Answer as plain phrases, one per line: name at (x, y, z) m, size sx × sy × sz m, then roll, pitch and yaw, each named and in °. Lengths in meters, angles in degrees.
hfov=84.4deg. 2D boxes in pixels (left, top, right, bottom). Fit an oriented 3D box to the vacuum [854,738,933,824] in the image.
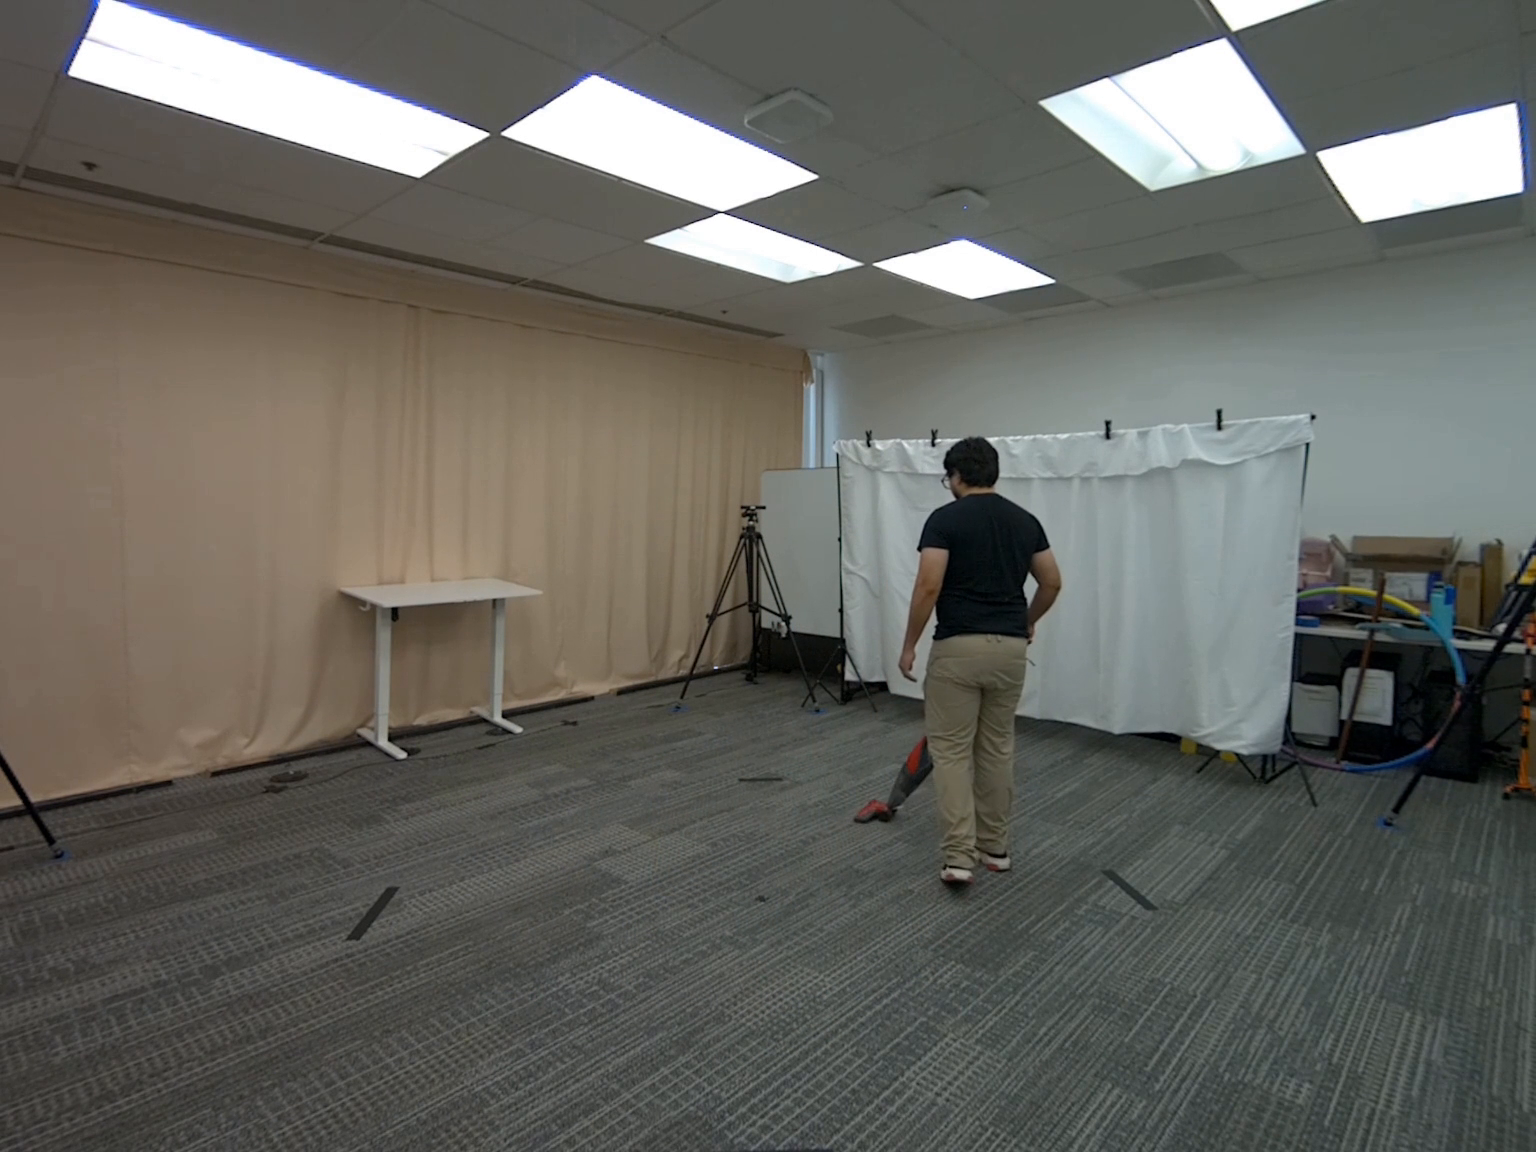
vacuum at (0.764, 0.664, 3.611) m, size 0.148 × 1.051 × 0.245 m, roll 42°, pitch 20°, yaw 22°
